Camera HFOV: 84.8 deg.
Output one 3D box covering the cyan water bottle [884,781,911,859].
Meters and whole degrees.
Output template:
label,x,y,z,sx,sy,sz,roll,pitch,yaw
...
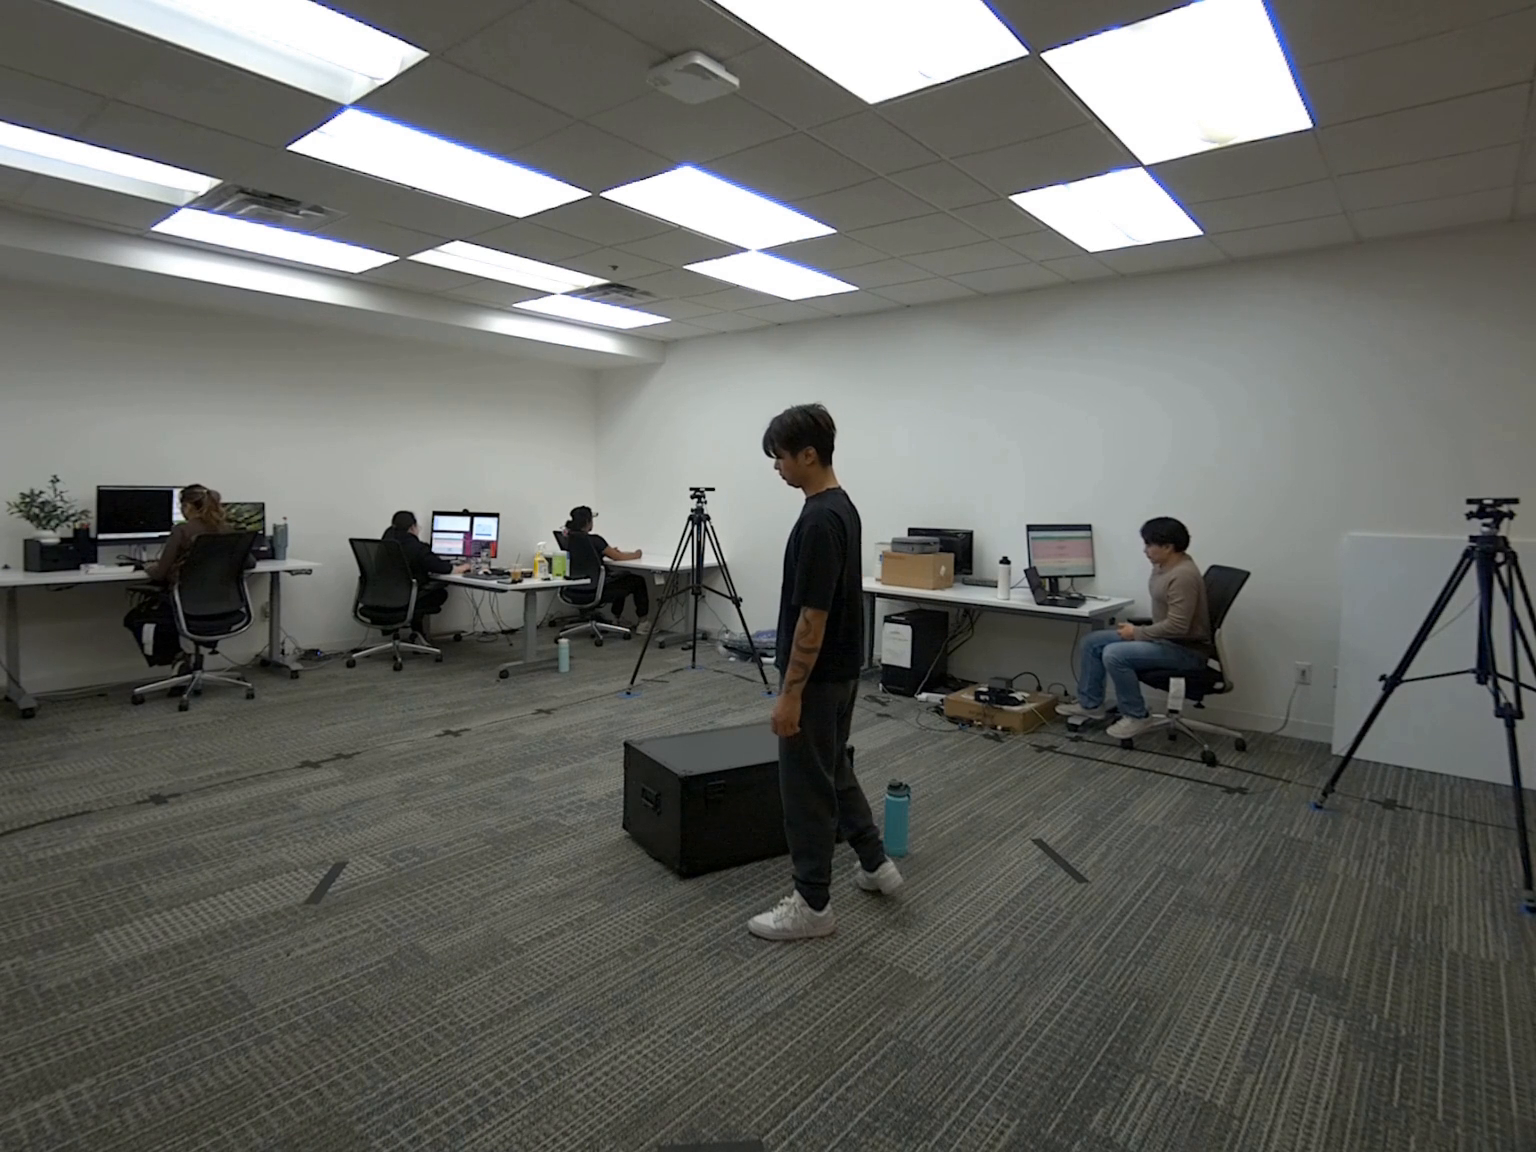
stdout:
label,x,y,z,sx,sy,sz,roll,pitch,yaw
cyan water bottle,0.493,0.924,3.286,0.092,0.283,0.092,2,2,-2
